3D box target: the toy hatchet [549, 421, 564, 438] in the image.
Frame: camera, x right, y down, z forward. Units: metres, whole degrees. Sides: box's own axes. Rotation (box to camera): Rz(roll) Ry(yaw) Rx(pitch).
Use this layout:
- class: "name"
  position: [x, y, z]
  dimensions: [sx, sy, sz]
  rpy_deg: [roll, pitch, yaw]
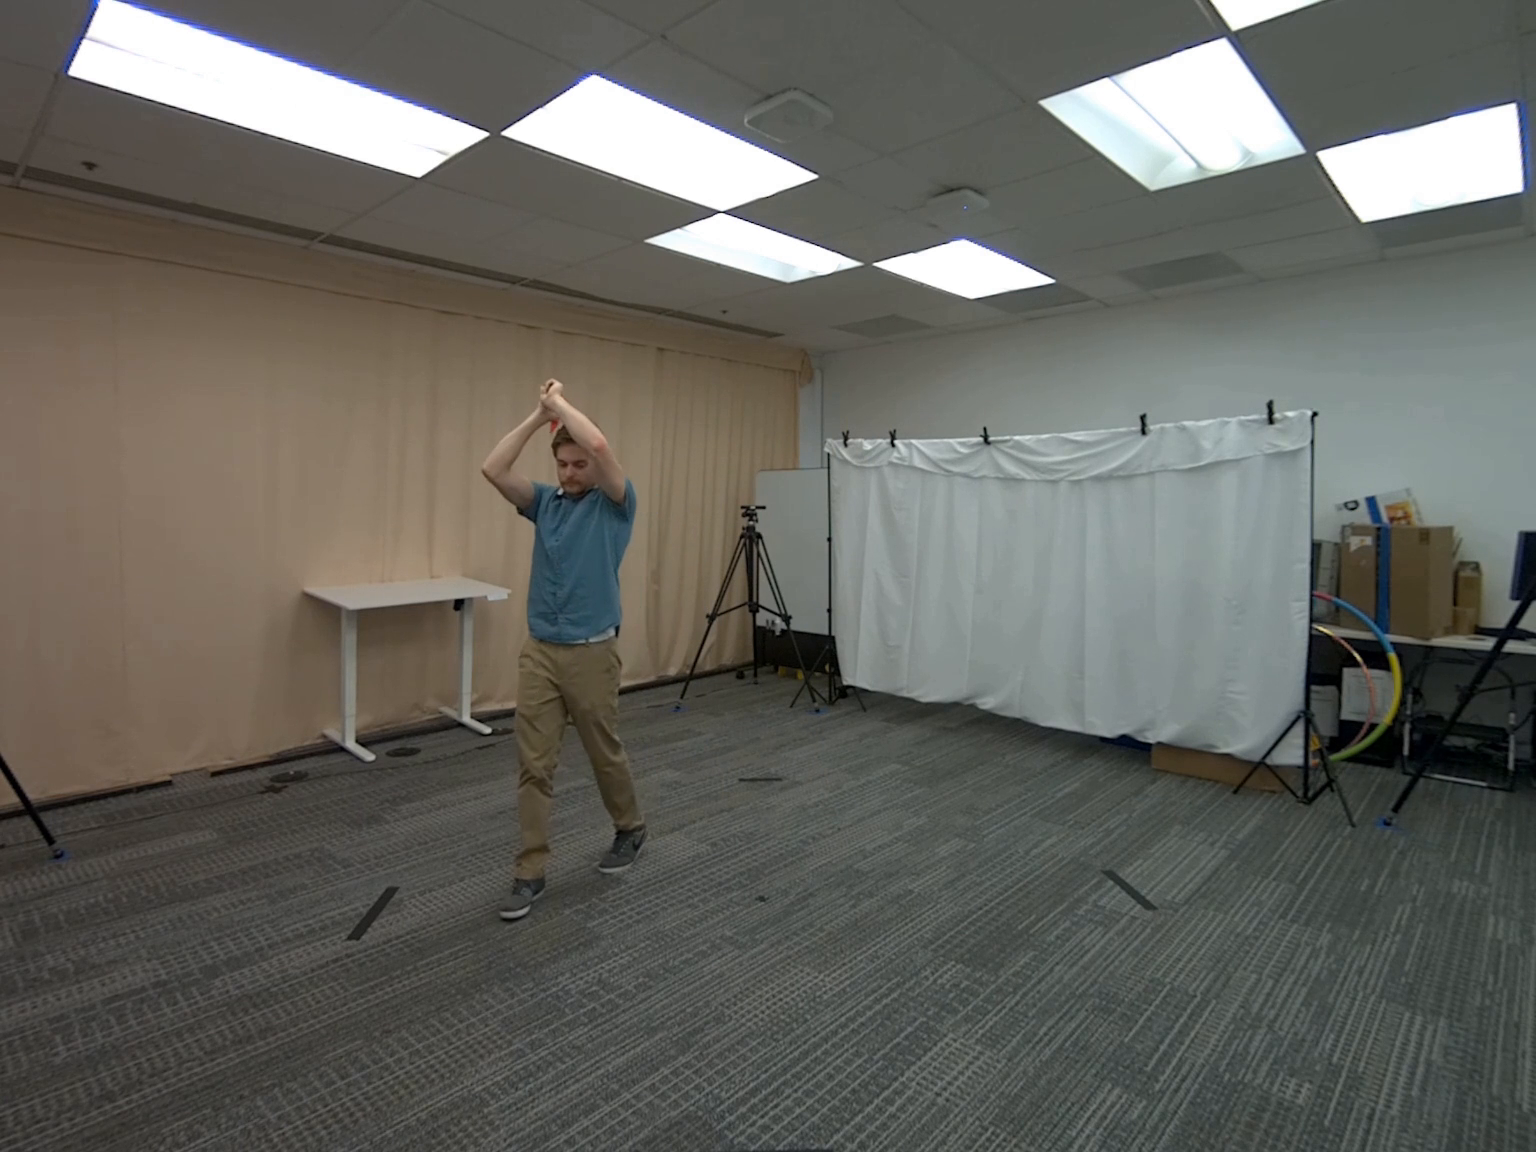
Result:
- class: "toy hatchet"
  position: [-0.785, -0.642, 3.091]
  dimensions: [0.029, 0.132, 0.268]
  rpy_deg: [13, -23, -2]
